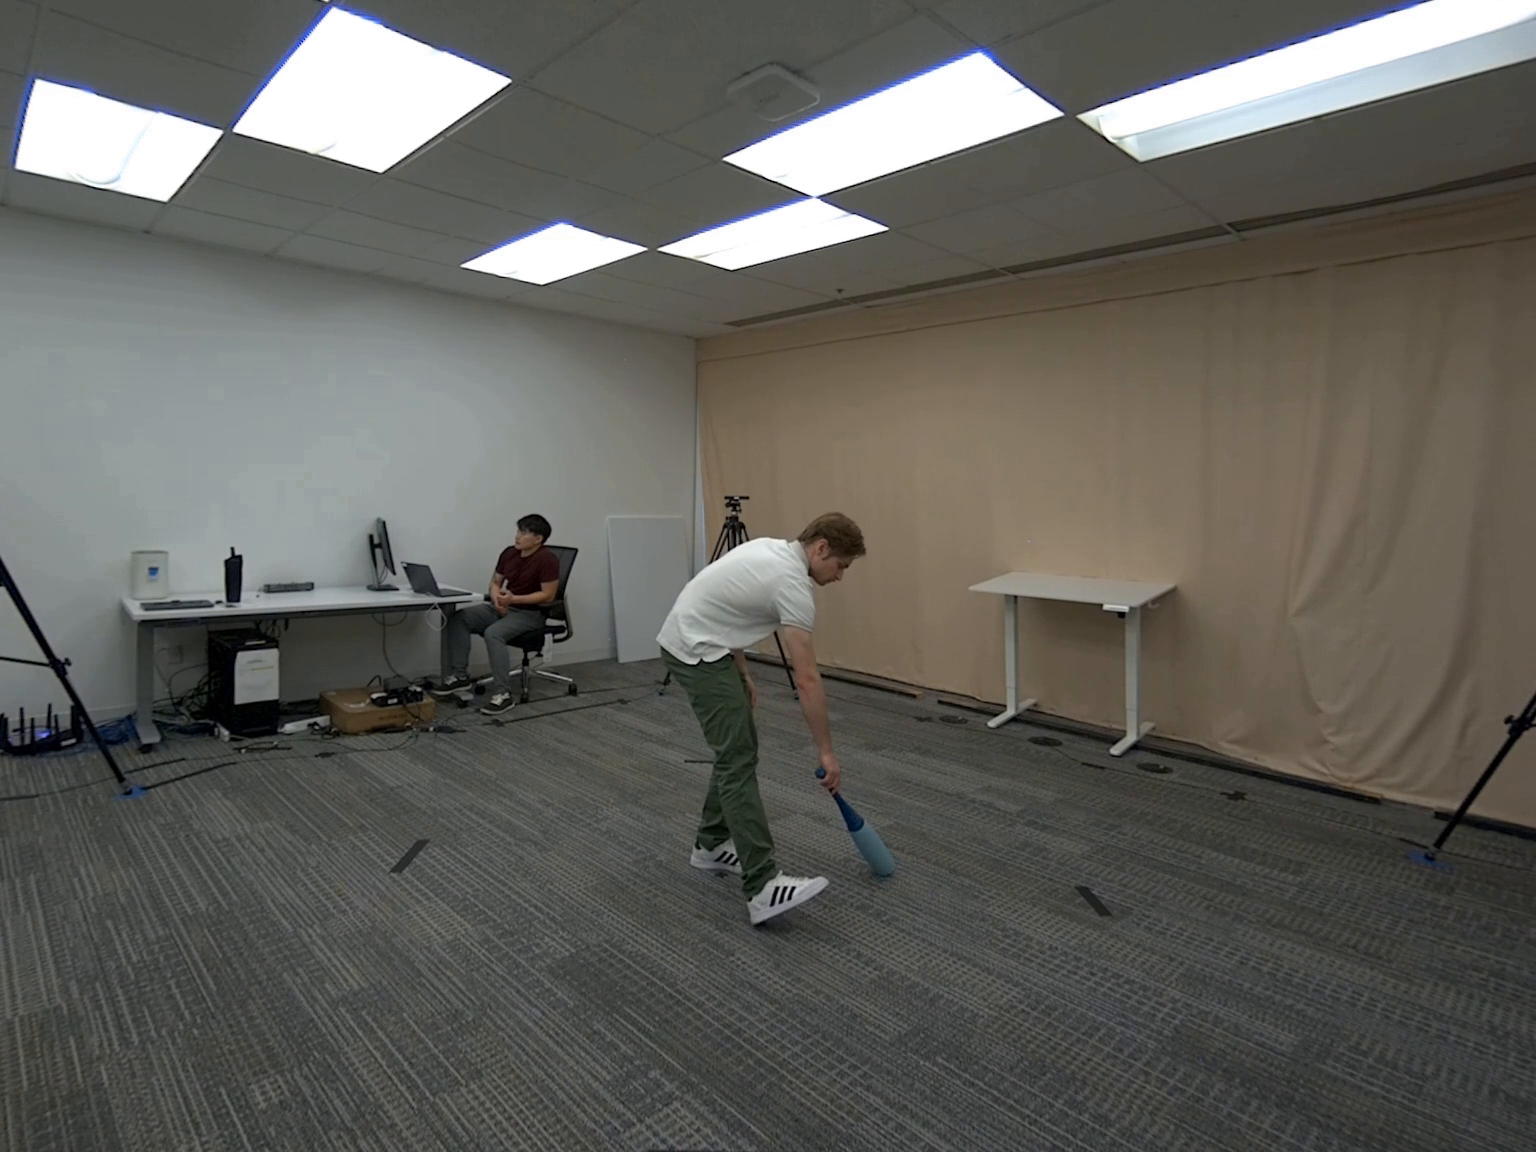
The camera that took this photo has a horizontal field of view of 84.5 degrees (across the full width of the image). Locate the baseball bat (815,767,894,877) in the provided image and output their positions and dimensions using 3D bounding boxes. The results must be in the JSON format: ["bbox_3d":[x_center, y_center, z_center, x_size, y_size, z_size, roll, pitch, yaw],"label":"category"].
[{"bbox_3d":[0.303,0.894,3.052,0.089,0.531,0.090,-28,23,13],"label":"baseball bat"}]
